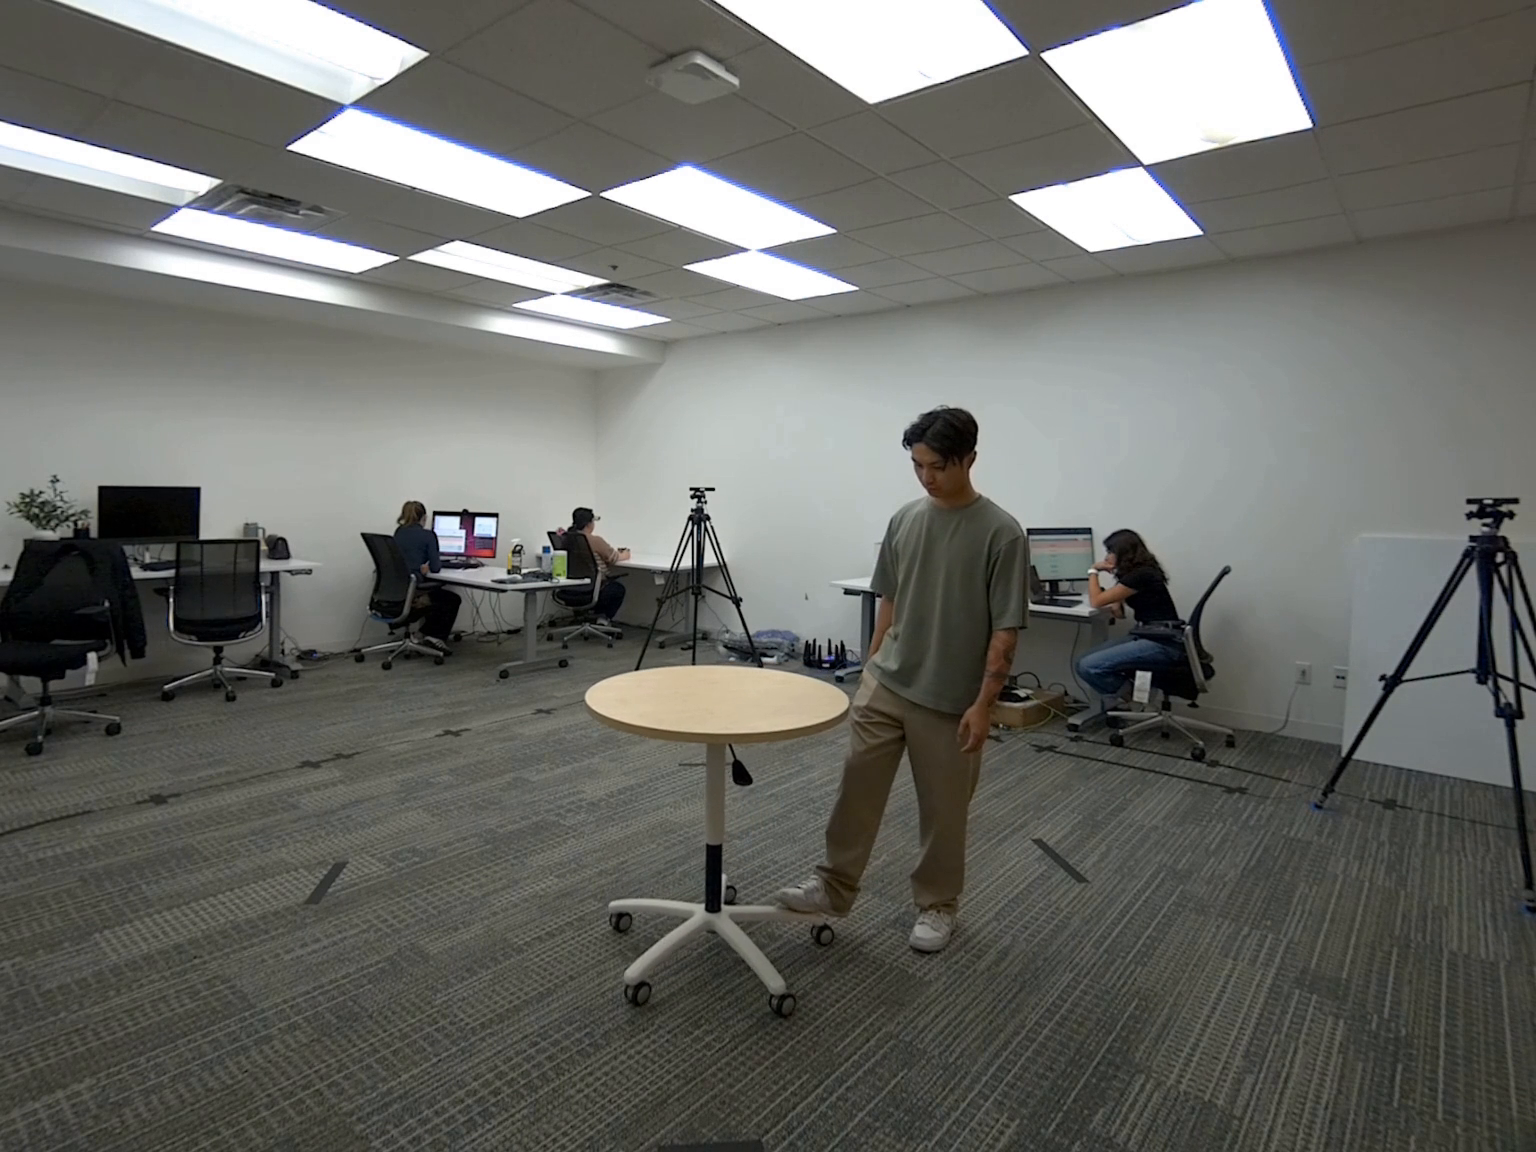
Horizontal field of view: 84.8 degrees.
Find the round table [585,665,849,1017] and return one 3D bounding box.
[{"bbox_3d":[-0.163,0.736,2.501,0.784,0.783,0.789,1,5,-2],"label":"round table"}]
